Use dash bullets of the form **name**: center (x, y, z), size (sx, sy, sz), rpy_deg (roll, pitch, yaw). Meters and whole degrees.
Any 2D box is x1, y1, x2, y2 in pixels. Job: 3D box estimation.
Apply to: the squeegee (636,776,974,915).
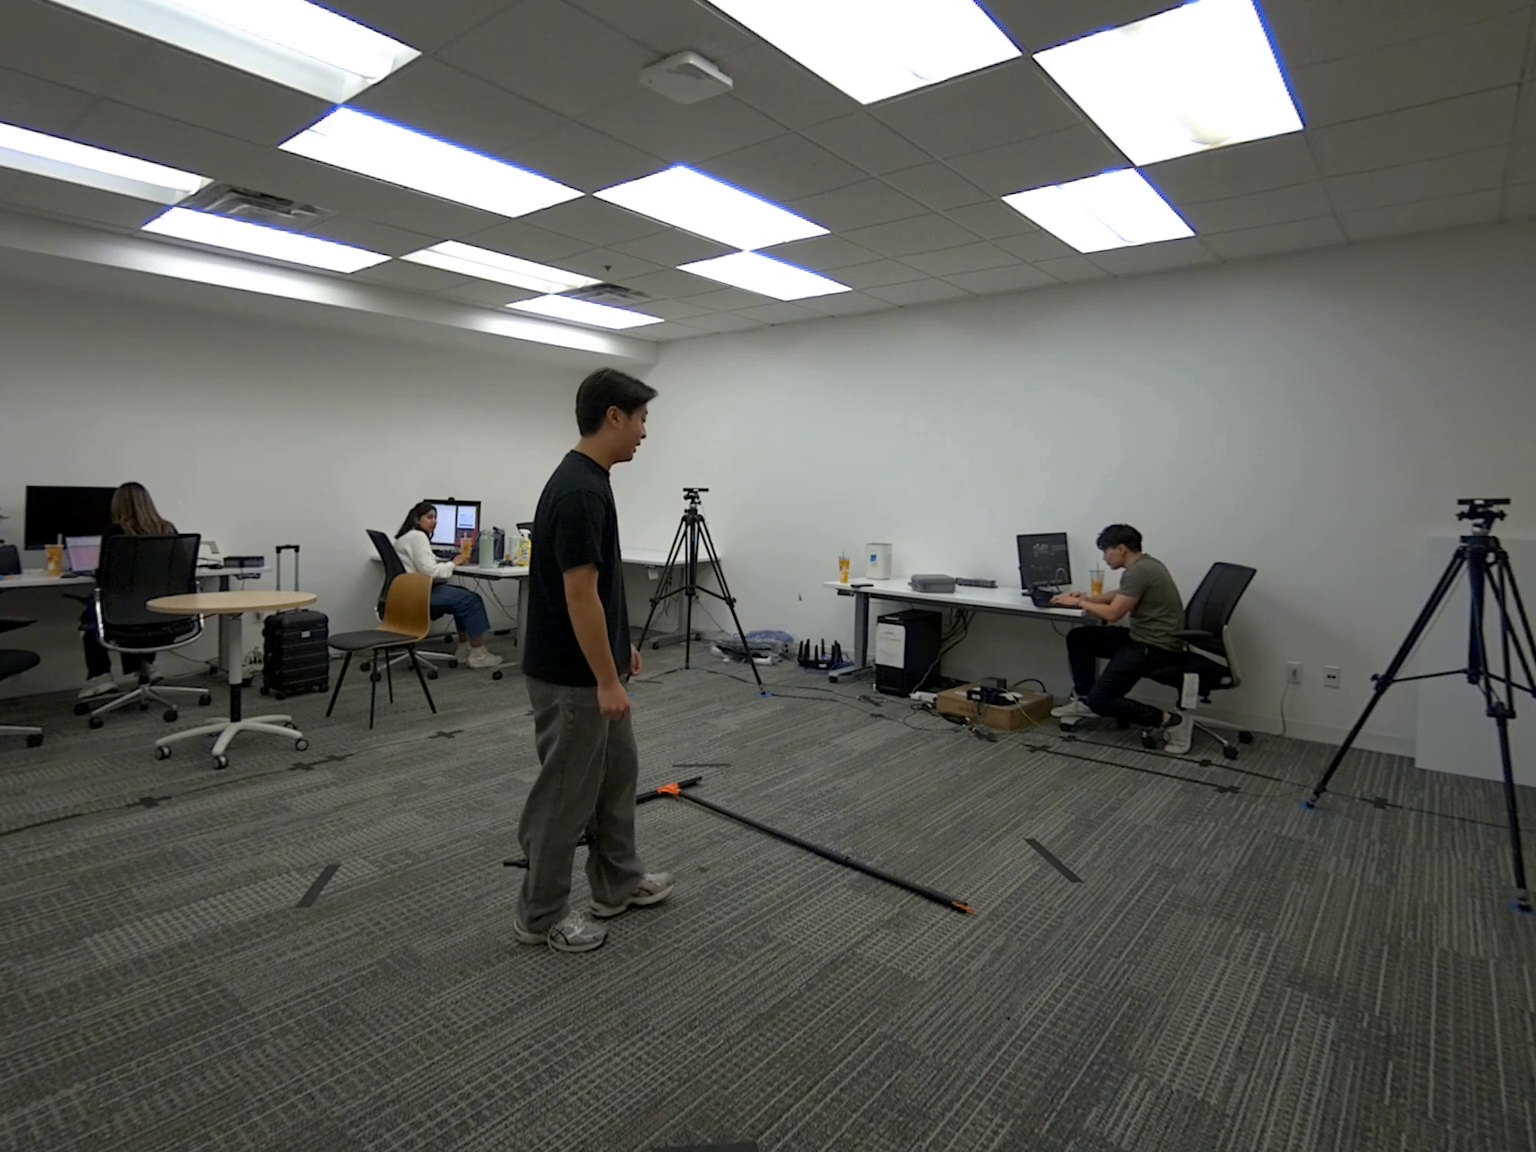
- **squeegee**: center (0.082, 1.018, 3.340), size (1.592, 0.052, 0.425), rpy_deg (8, 10, 43)
